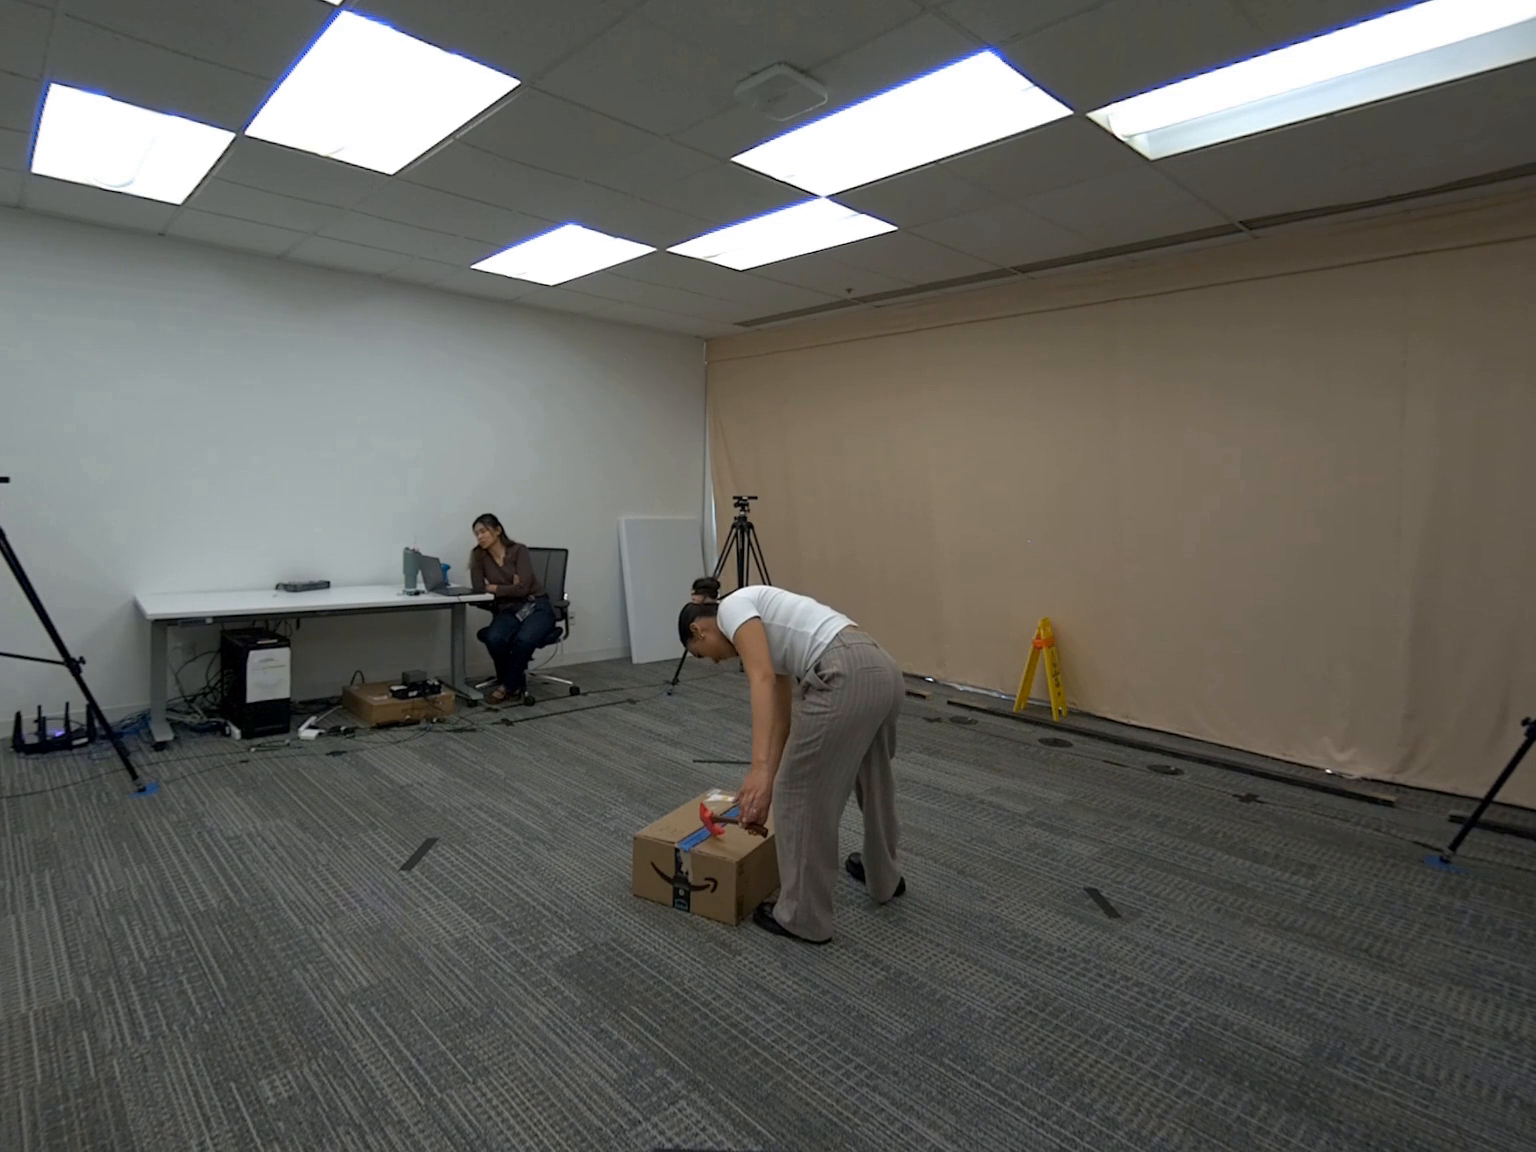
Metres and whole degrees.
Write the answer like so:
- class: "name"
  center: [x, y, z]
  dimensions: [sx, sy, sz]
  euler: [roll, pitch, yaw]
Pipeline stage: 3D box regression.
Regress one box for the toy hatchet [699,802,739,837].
- class: "toy hatchet"
  center: [-0.116, 0.861, 2.851]
  dimensions: [0.276, 0.129, 0.029]
  euler: [14, 30, 28]
